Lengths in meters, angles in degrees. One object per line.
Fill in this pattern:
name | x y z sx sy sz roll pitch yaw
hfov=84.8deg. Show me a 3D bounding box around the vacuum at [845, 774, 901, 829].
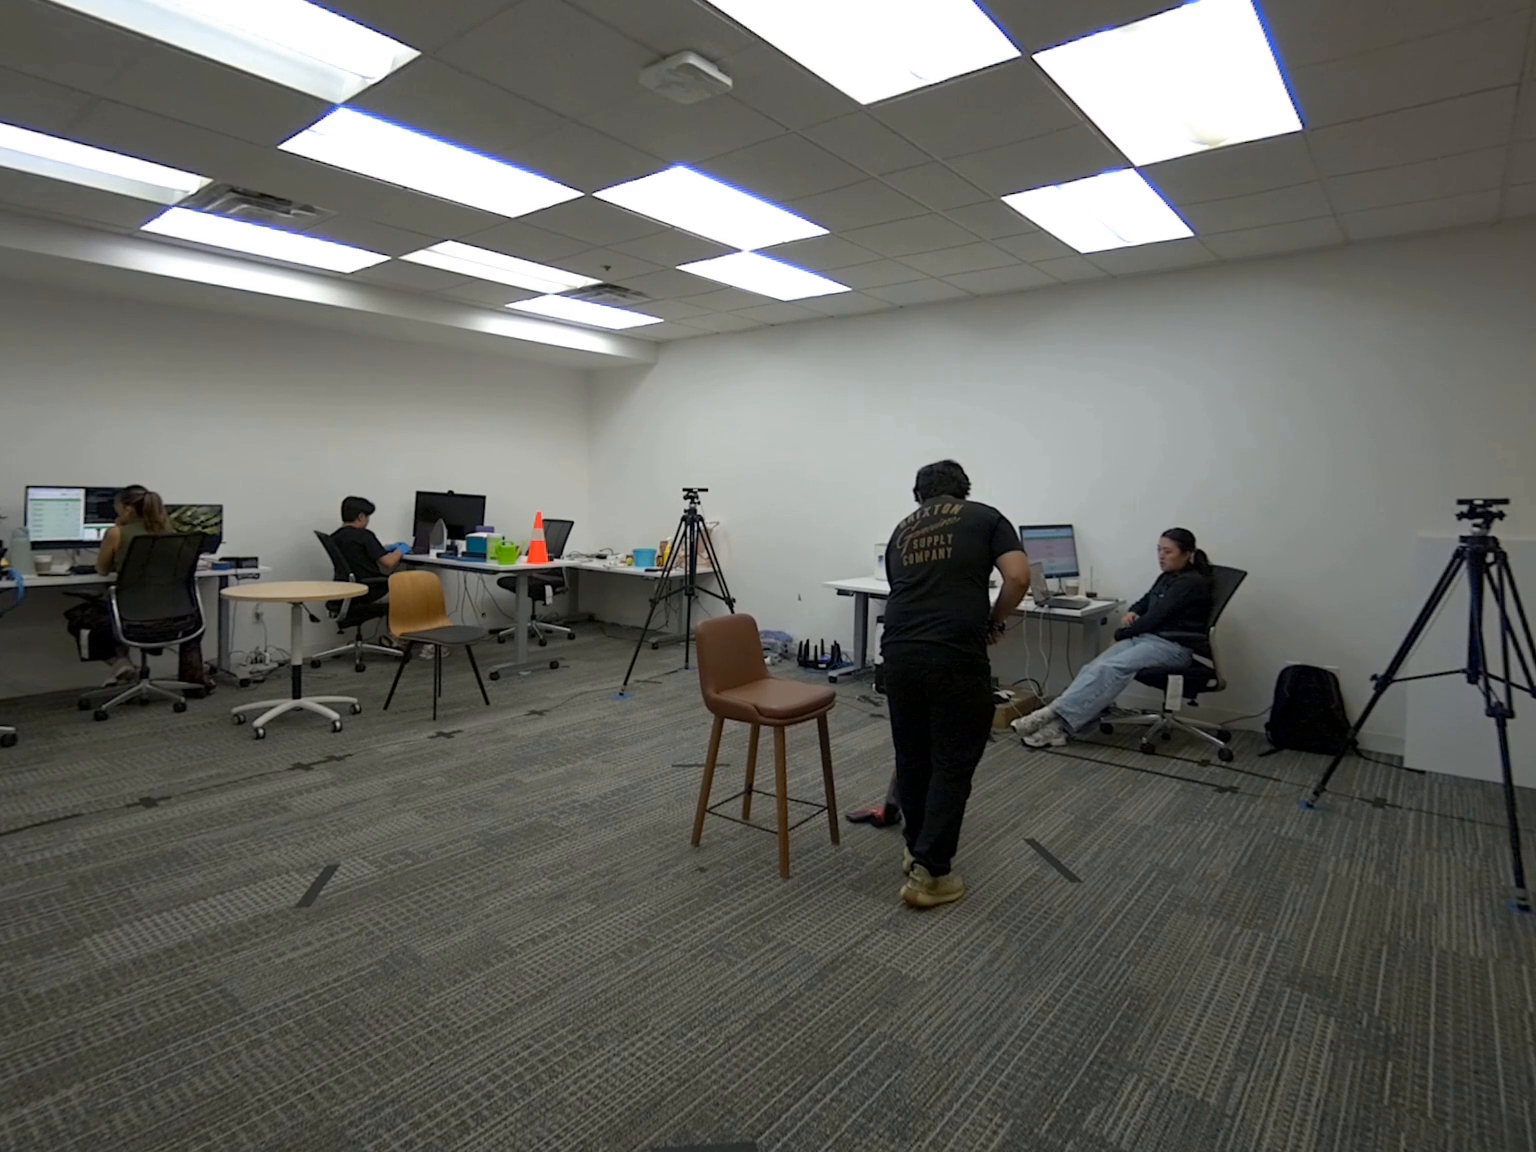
vacuum | 0.614 0.612 3.357 0.245 1.034 0.150 -4 38 -35
